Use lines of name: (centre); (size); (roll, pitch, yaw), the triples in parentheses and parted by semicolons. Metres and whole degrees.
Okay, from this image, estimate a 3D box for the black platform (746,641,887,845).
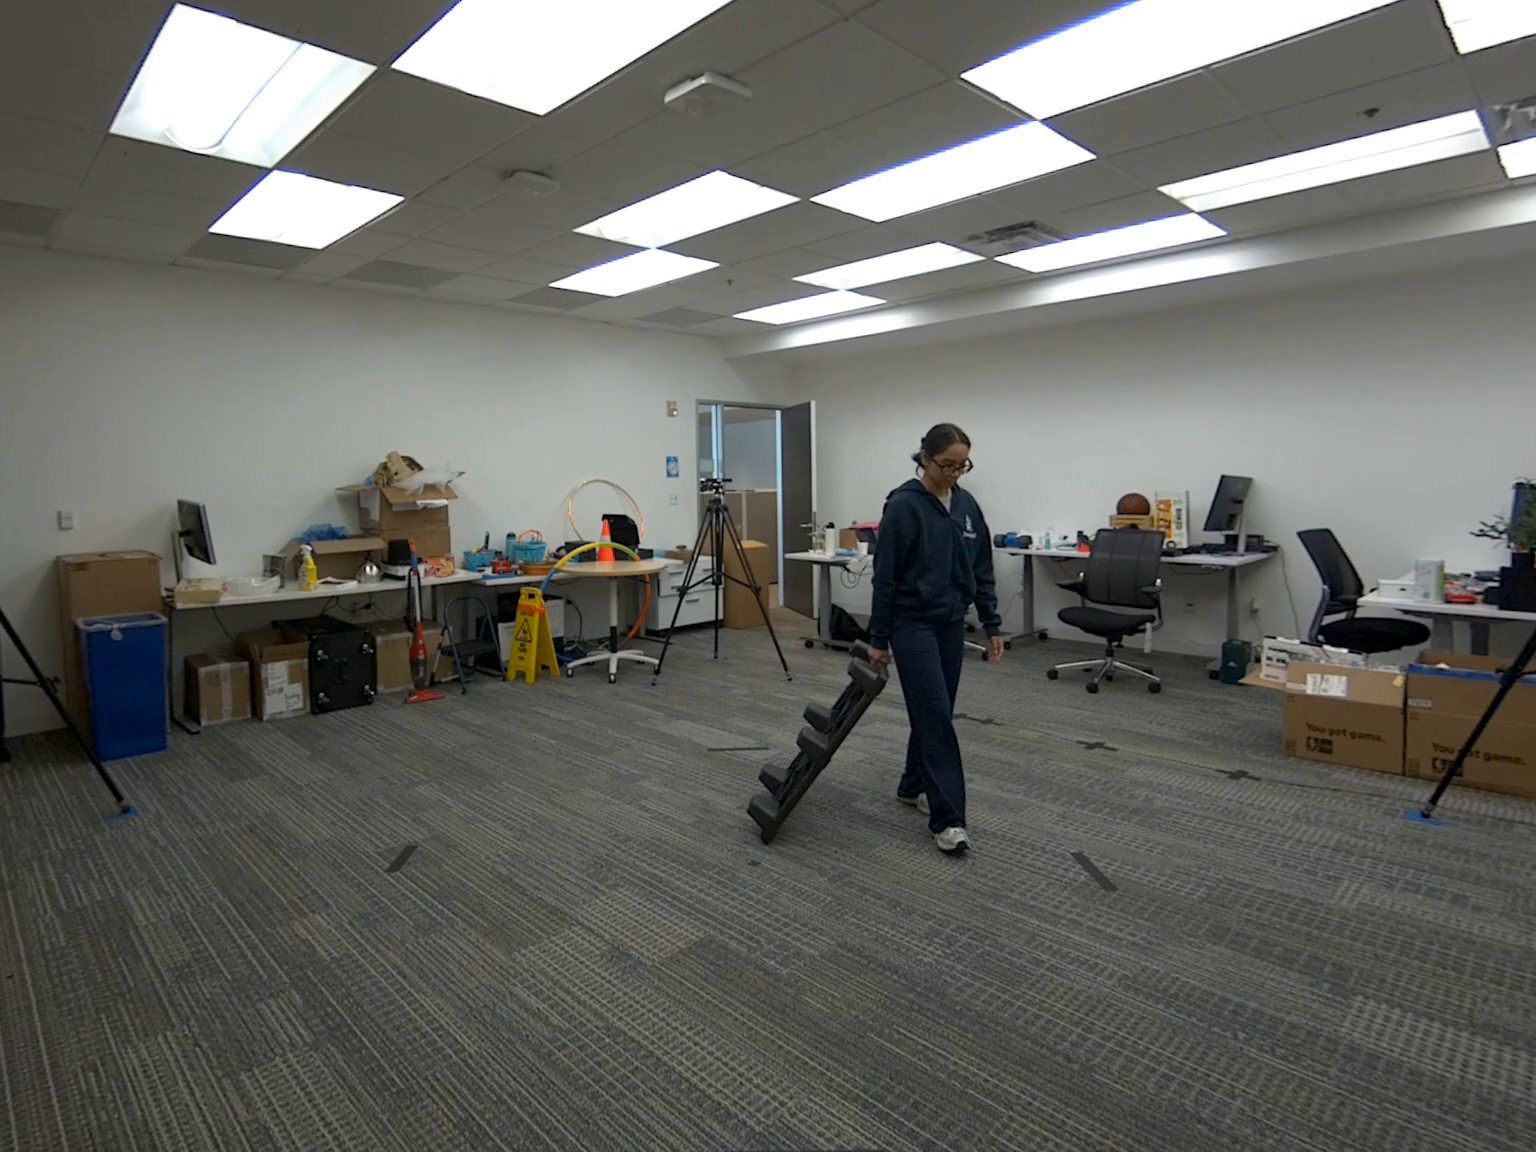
black platform: (0.207, 0.639, 3.482); (0.144, 0.804, 0.602); (35, 9, 3)
